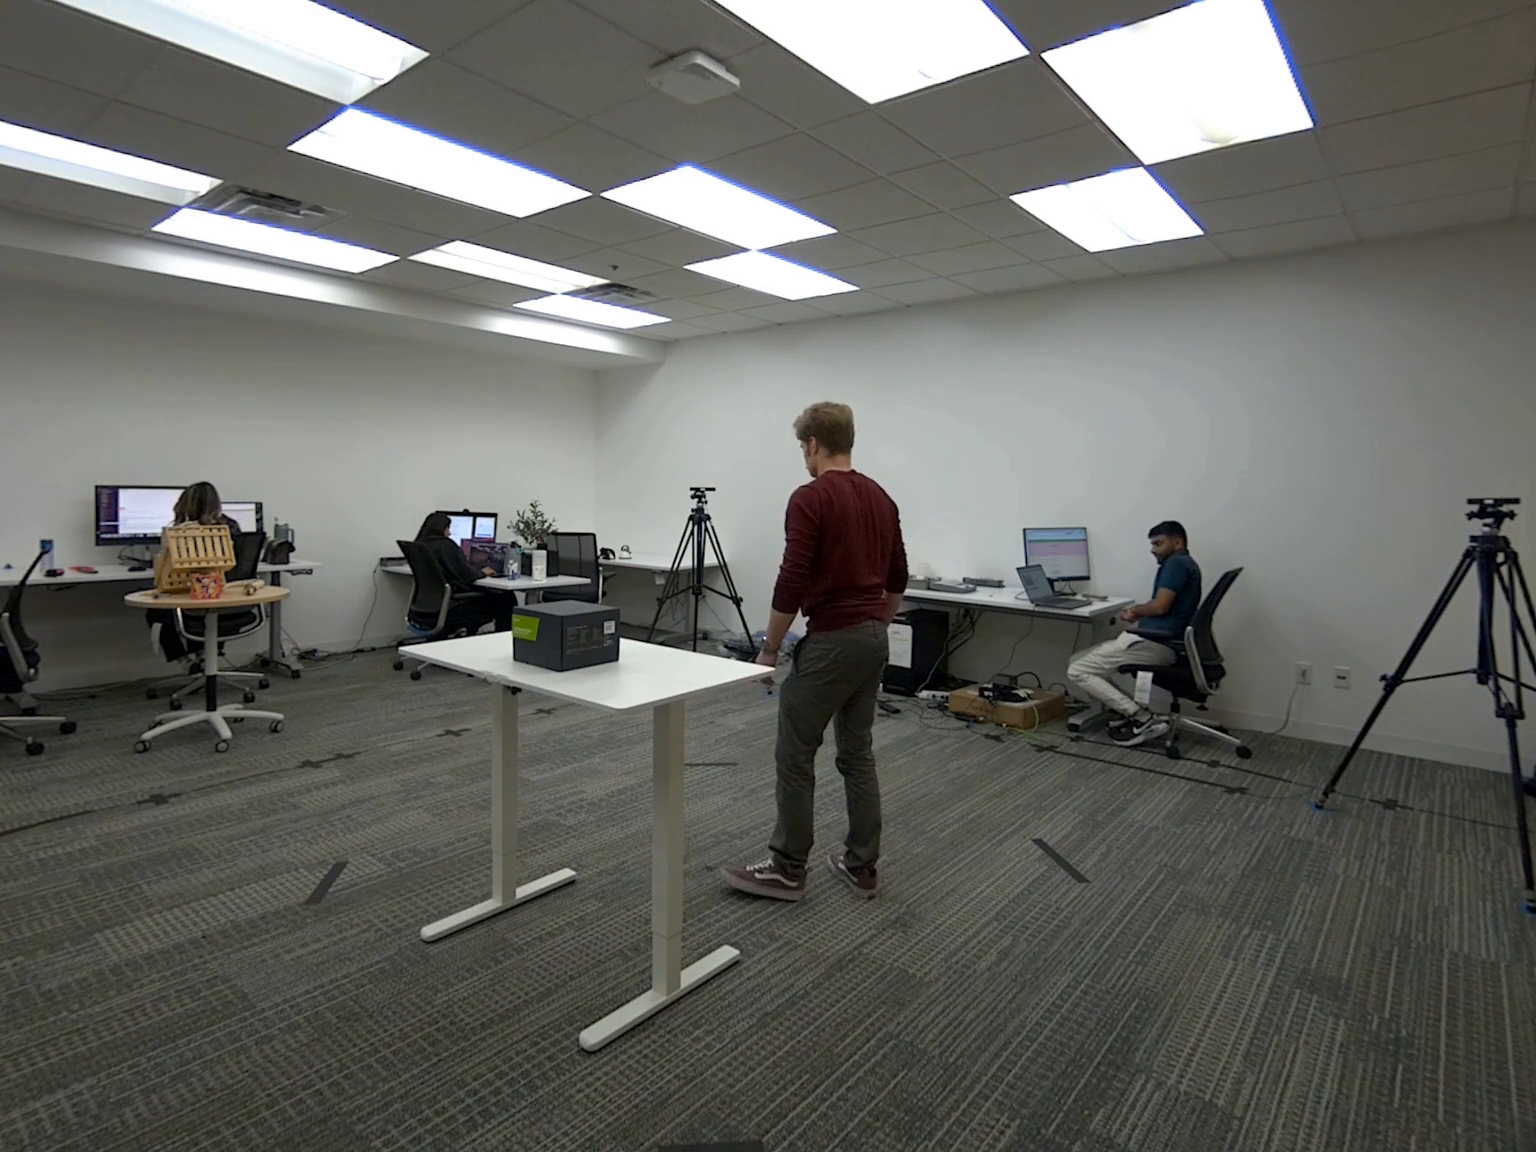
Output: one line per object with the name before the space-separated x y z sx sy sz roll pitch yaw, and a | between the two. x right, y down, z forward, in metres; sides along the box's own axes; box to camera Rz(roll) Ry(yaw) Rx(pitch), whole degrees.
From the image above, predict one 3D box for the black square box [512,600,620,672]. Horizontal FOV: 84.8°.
black square box | -0.595 0.163 2.460 0.235 0.155 0.211 5 7 39
